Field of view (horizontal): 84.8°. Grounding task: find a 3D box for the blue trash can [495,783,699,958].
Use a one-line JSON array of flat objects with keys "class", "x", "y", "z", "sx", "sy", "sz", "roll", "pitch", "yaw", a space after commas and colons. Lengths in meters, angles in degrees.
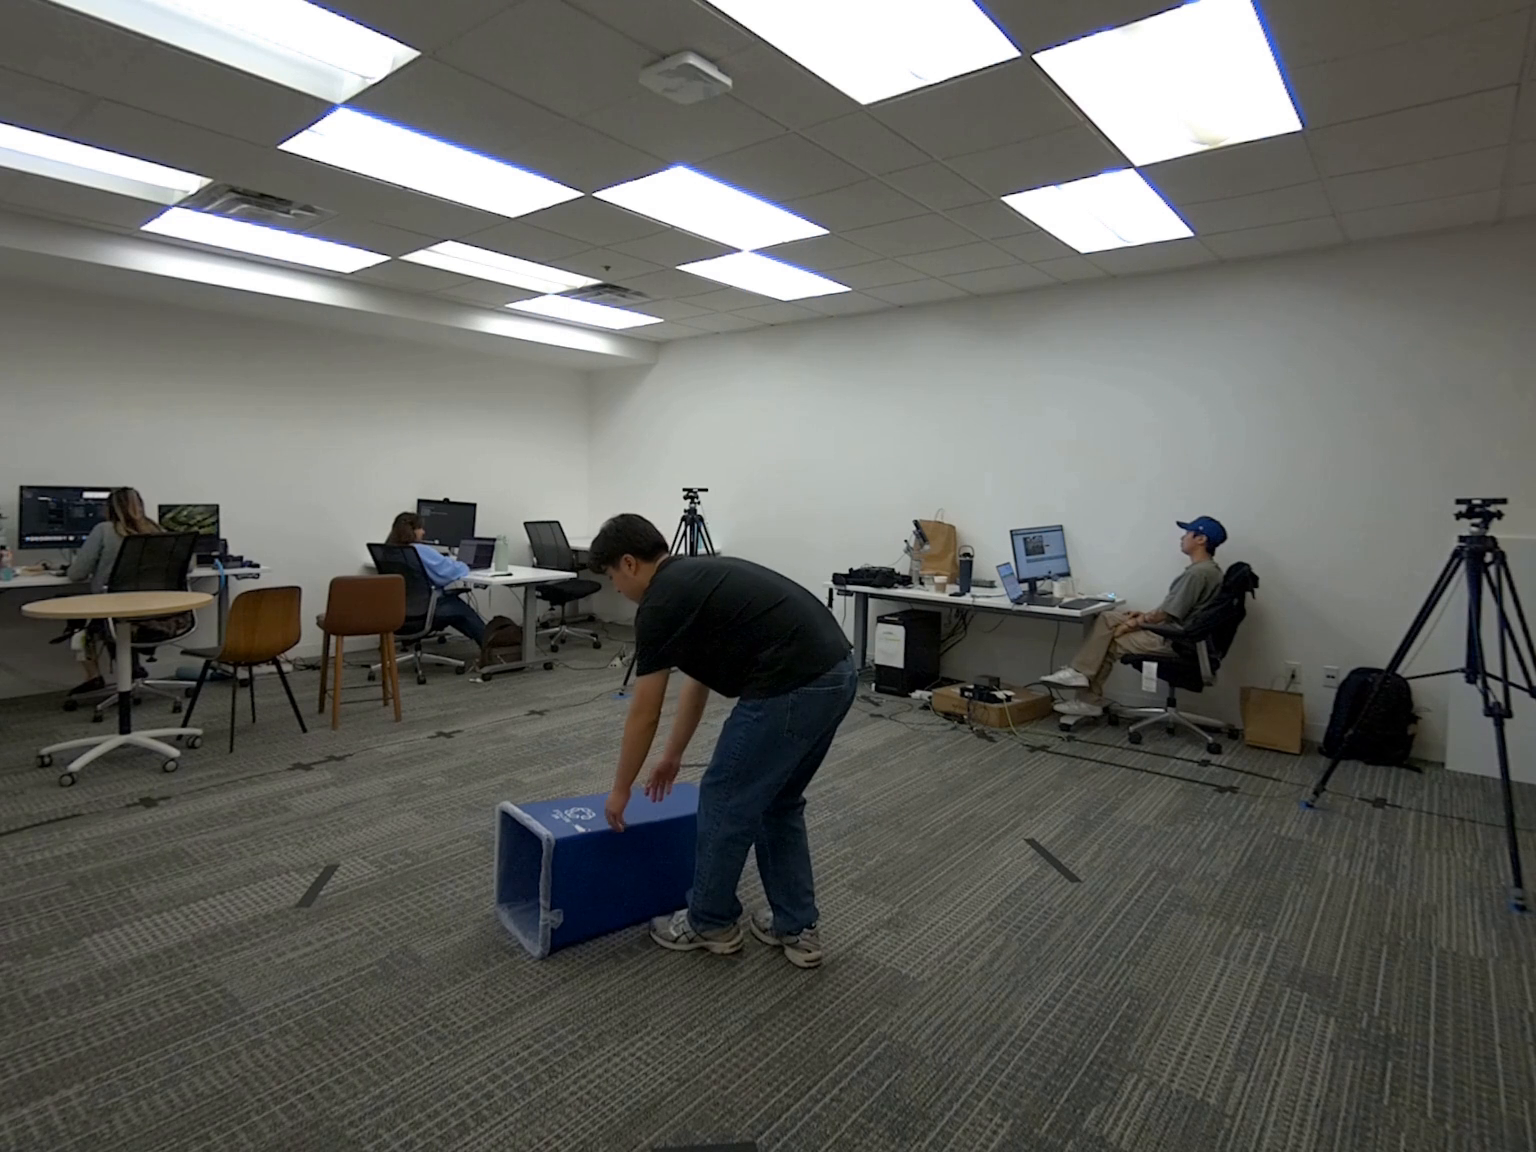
[{"class": "blue trash can", "x": -0.511, "y": 0.923, "z": 2.829, "sx": 0.691, "sy": 0.377, "sz": 0.386, "roll": 1, "pitch": 3, "yaw": -38}]
